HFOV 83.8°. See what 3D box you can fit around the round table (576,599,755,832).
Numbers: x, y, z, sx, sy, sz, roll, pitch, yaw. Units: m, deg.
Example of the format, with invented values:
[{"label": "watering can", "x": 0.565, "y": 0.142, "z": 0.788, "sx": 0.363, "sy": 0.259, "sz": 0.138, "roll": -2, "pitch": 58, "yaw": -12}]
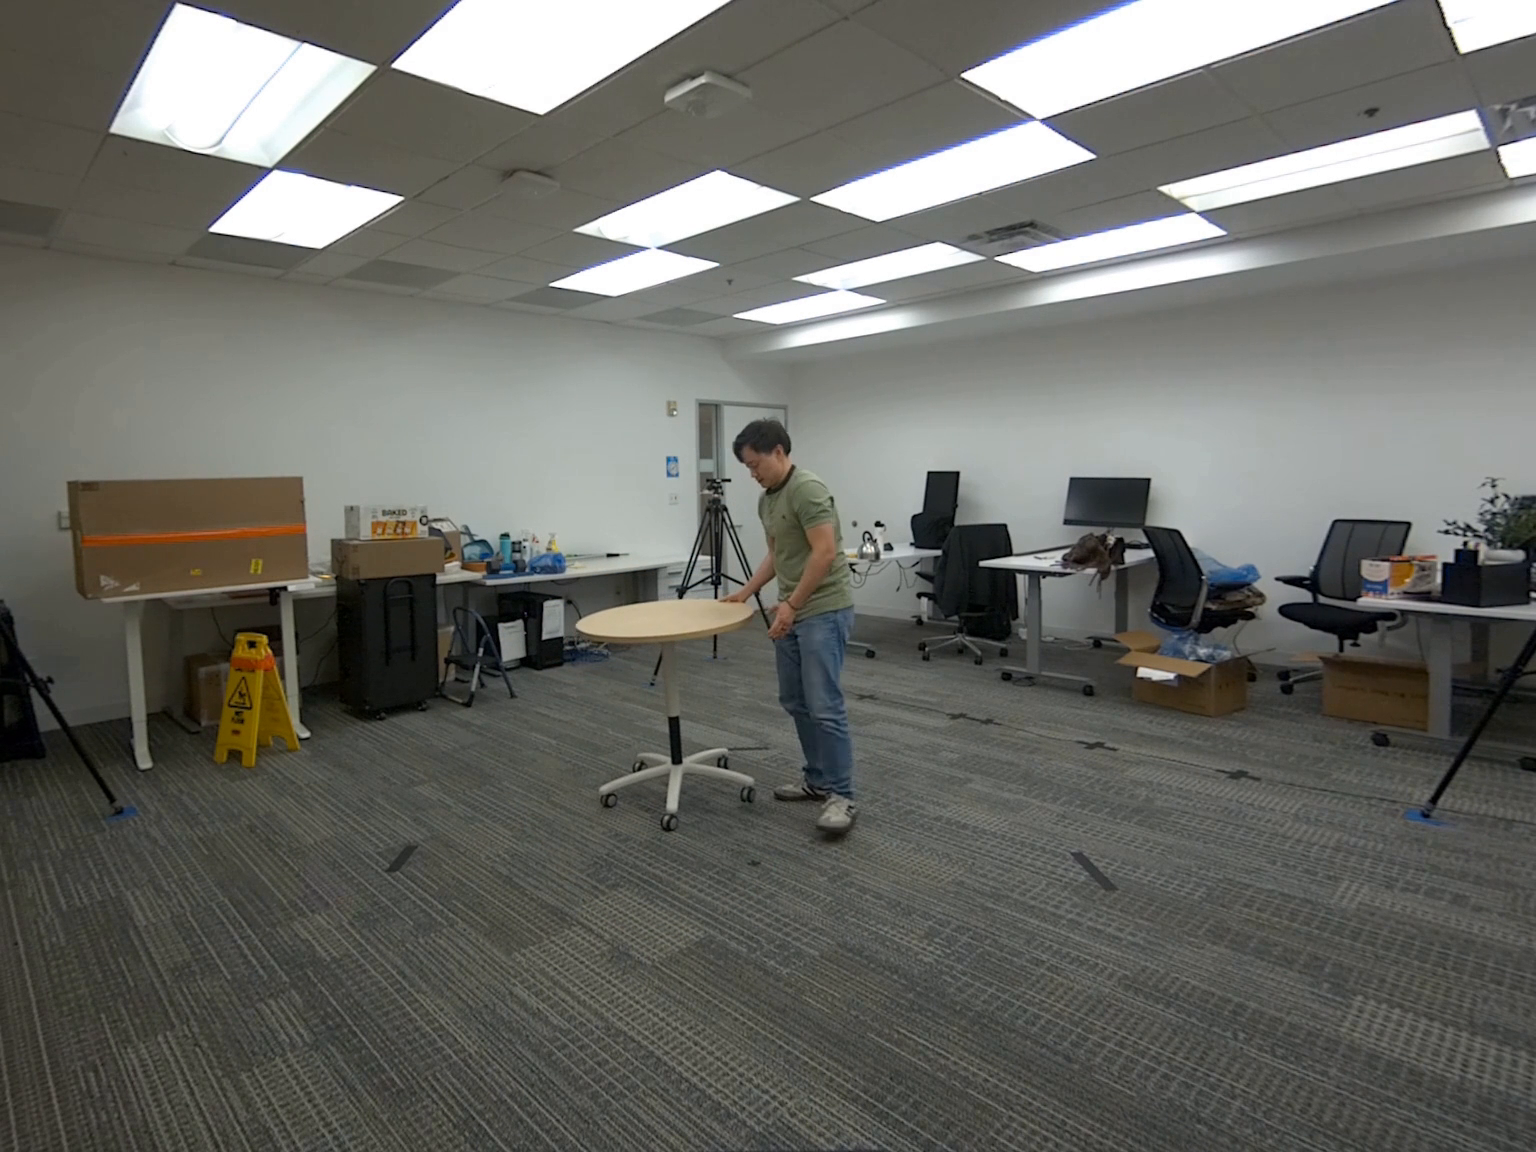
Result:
[{"label": "round table", "x": -0.418, "y": 0.570, "z": 3.717, "sx": 0.764, "sy": 0.789, "sz": 0.769, "roll": -4, "pitch": 7, "yaw": -1}]
